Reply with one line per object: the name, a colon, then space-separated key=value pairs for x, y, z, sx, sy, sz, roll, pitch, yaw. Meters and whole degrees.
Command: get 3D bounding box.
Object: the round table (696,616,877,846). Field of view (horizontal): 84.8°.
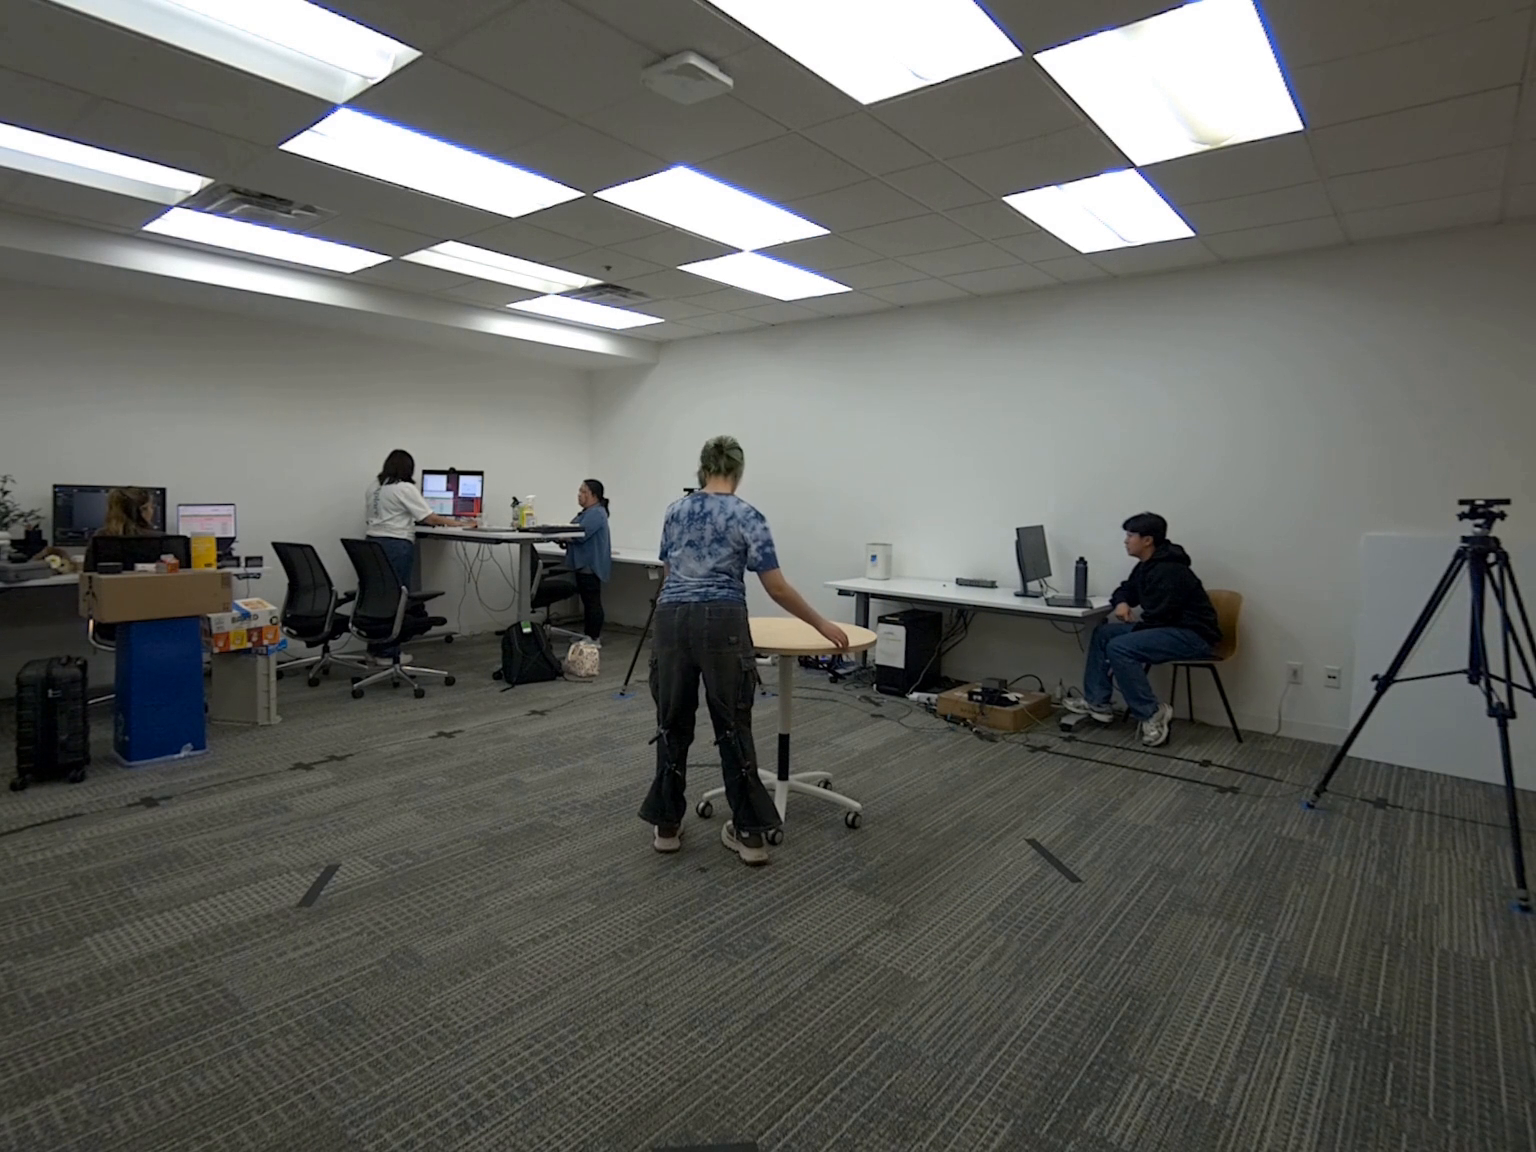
round table: x=0.061 y=0.630 z=3.681 sx=0.763 sy=0.792 sz=0.767 roll=2 pitch=4 yaw=-2
